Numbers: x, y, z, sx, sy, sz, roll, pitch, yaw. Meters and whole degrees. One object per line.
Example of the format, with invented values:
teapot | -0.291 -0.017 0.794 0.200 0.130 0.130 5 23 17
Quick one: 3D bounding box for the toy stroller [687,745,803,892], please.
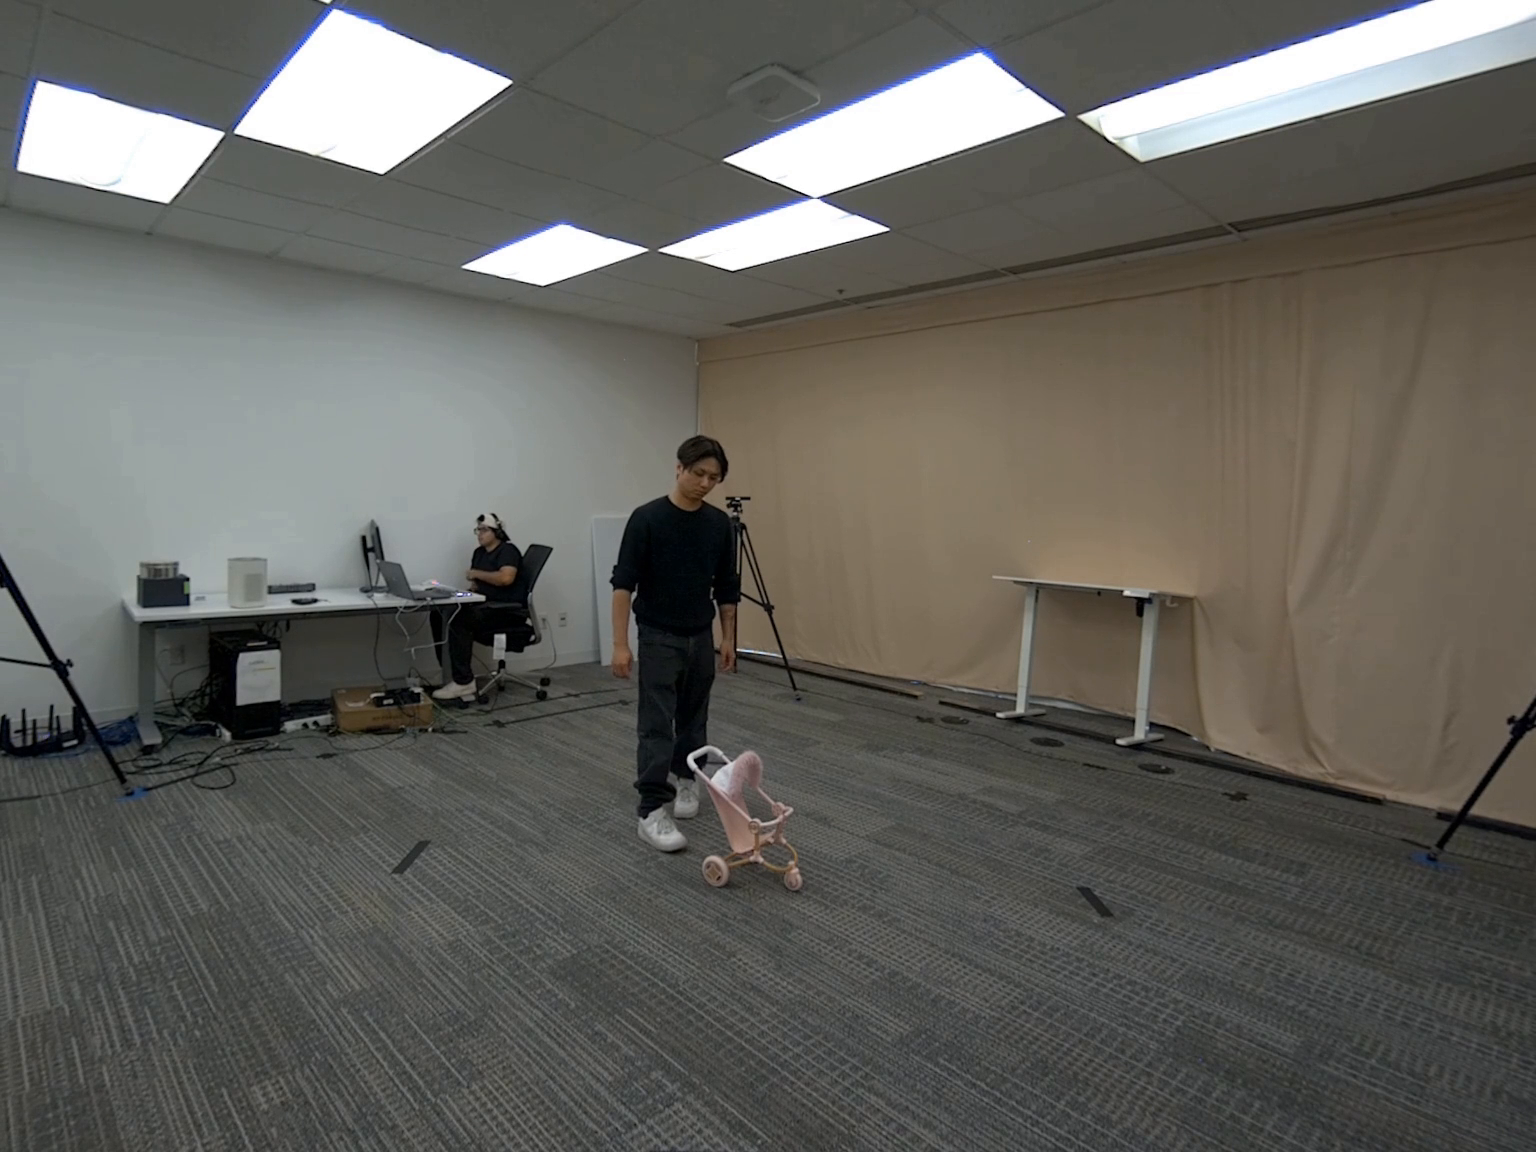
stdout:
toy stroller | -0.077 0.884 3.079 0.347 0.537 0.276 -15 -6 33
